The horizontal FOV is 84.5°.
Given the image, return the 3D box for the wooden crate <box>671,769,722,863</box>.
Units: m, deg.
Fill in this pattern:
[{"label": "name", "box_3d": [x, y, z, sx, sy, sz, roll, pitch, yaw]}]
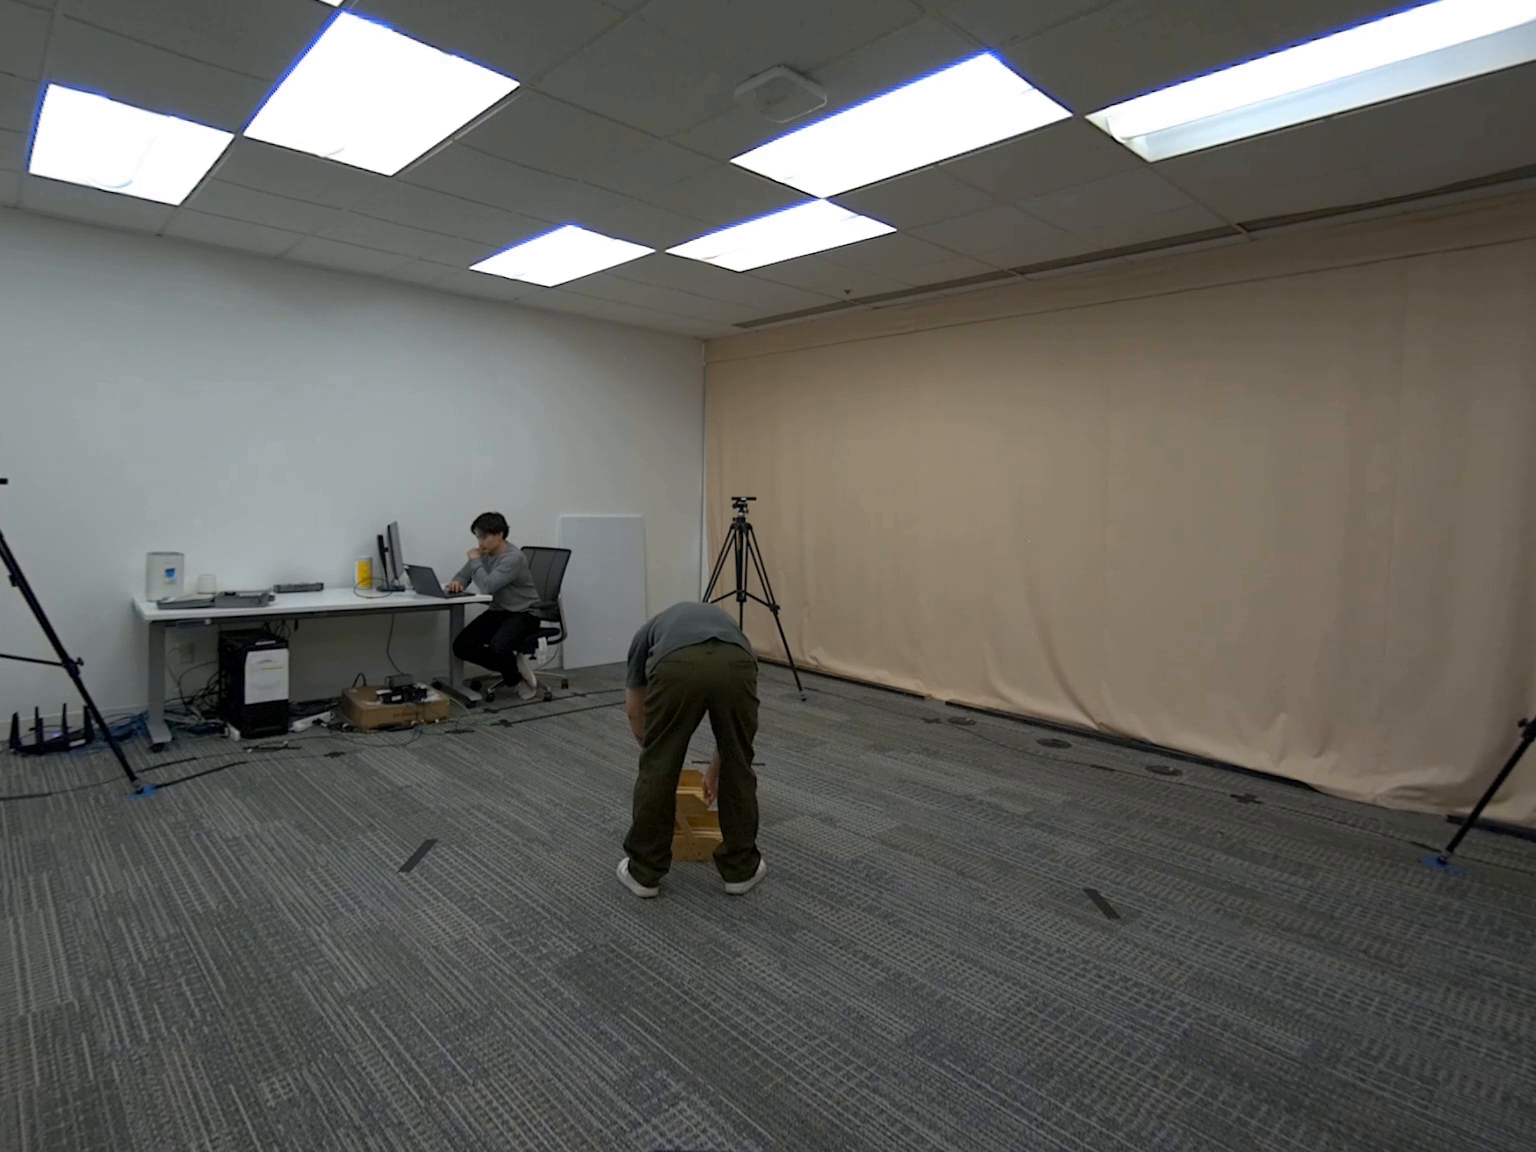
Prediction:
[{"label": "wooden crate", "box_3d": [-0.286, 0.951, 3.376, 0.302, 0.273, 0.324, 0, 2, 0]}]
